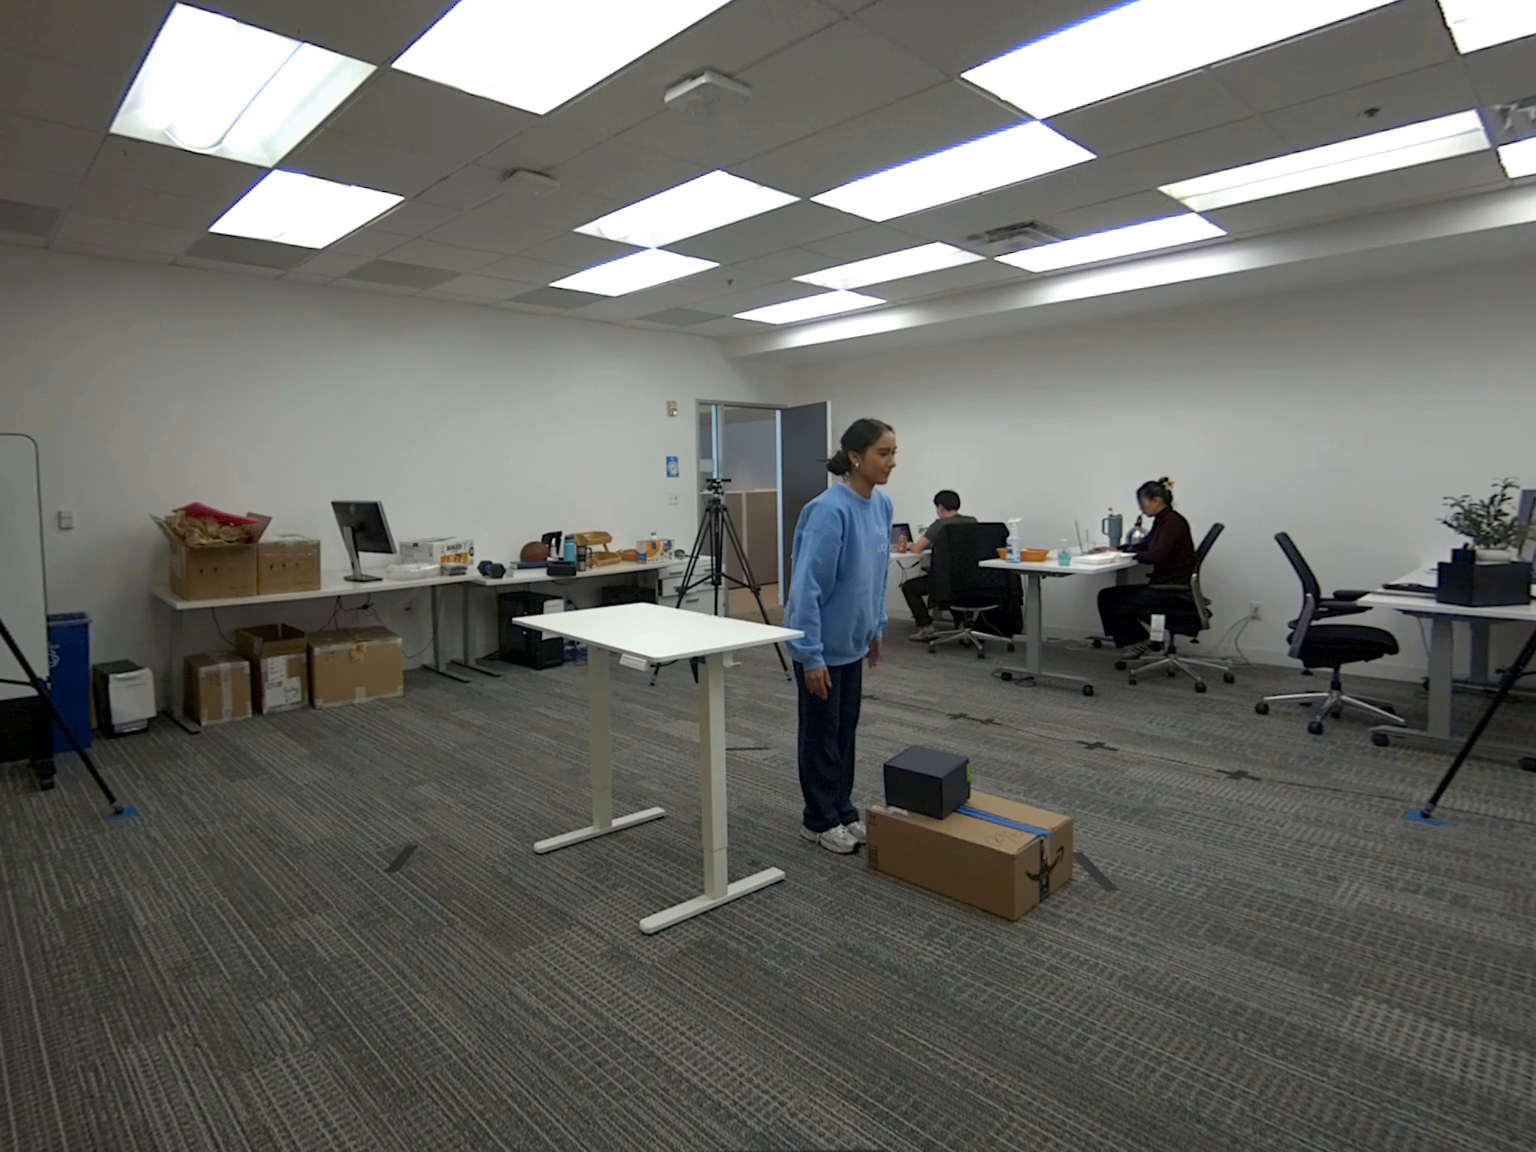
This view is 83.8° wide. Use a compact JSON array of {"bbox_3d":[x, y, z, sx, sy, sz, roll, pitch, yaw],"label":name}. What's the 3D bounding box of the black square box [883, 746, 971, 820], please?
[{"bbox_3d":[0.570,0.730,3.067,0.235,0.155,0.212,4,11,40],"label":"black square box"}]
